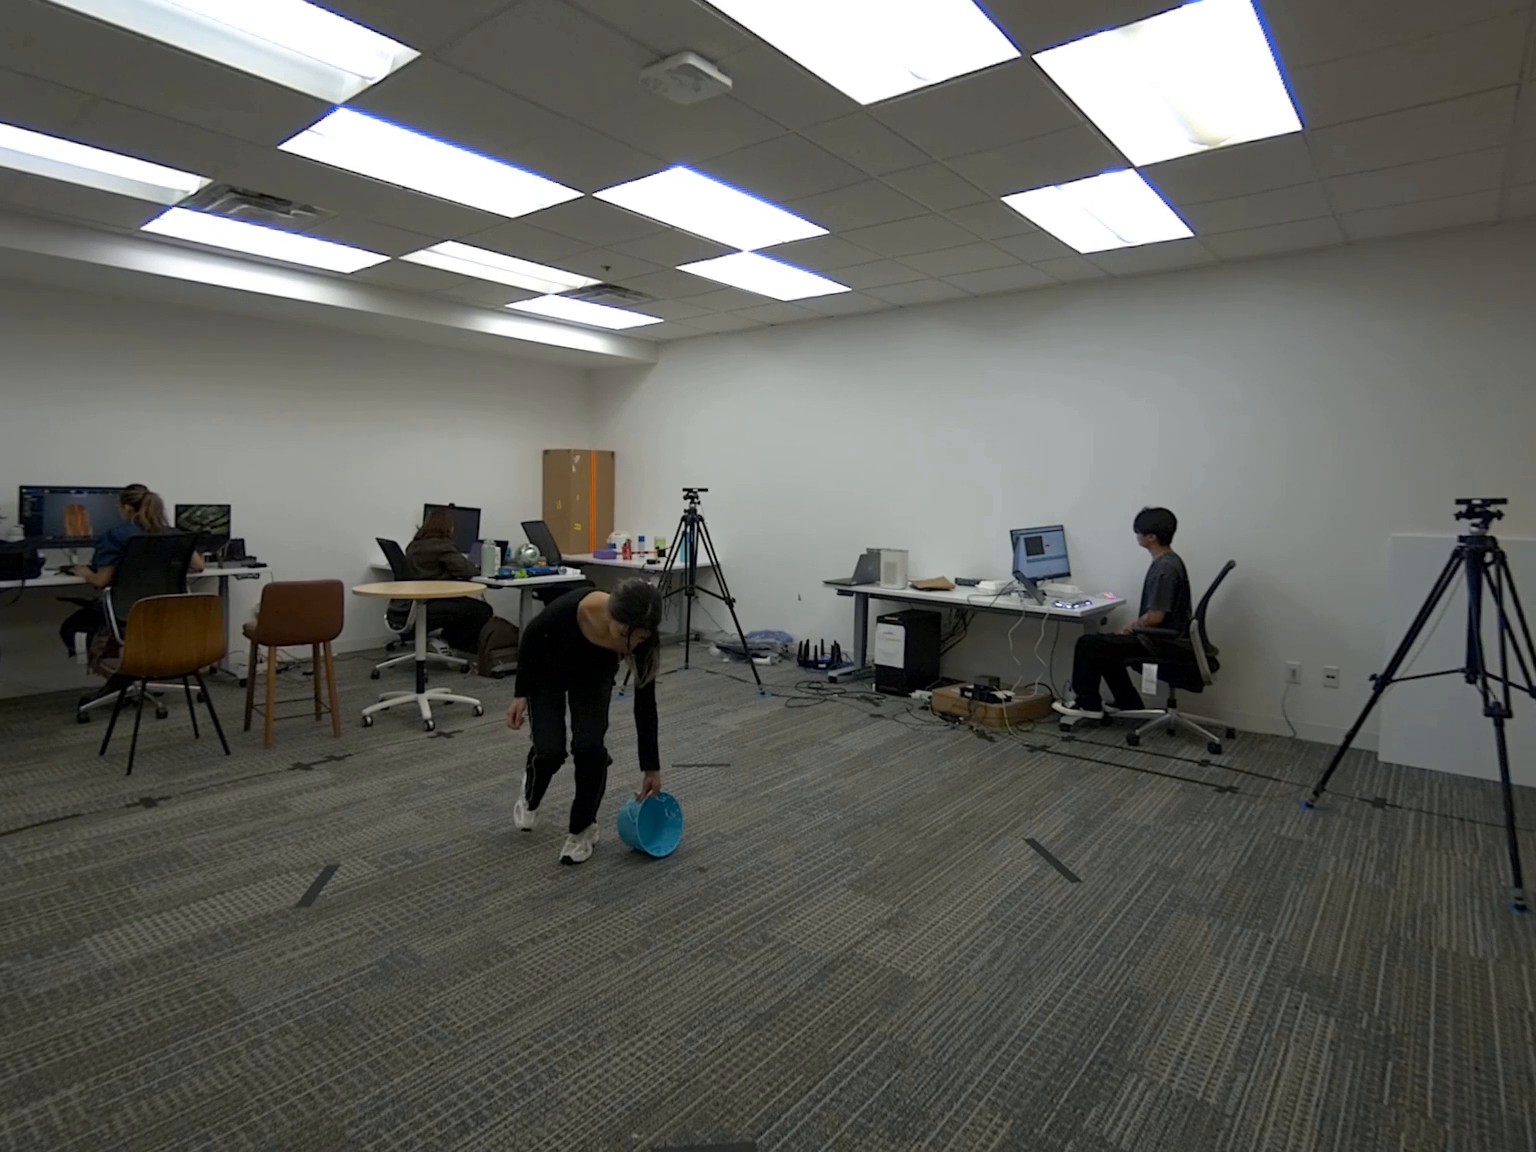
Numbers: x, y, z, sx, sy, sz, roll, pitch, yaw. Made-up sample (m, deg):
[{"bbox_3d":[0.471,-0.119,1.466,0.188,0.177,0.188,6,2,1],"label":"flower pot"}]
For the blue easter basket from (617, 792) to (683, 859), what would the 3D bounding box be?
[{"bbox_3d":[-0.467,0.941,3.260,0.236,0.246,0.159,-3,-10,-46],"label":"blue easter basket"}]
